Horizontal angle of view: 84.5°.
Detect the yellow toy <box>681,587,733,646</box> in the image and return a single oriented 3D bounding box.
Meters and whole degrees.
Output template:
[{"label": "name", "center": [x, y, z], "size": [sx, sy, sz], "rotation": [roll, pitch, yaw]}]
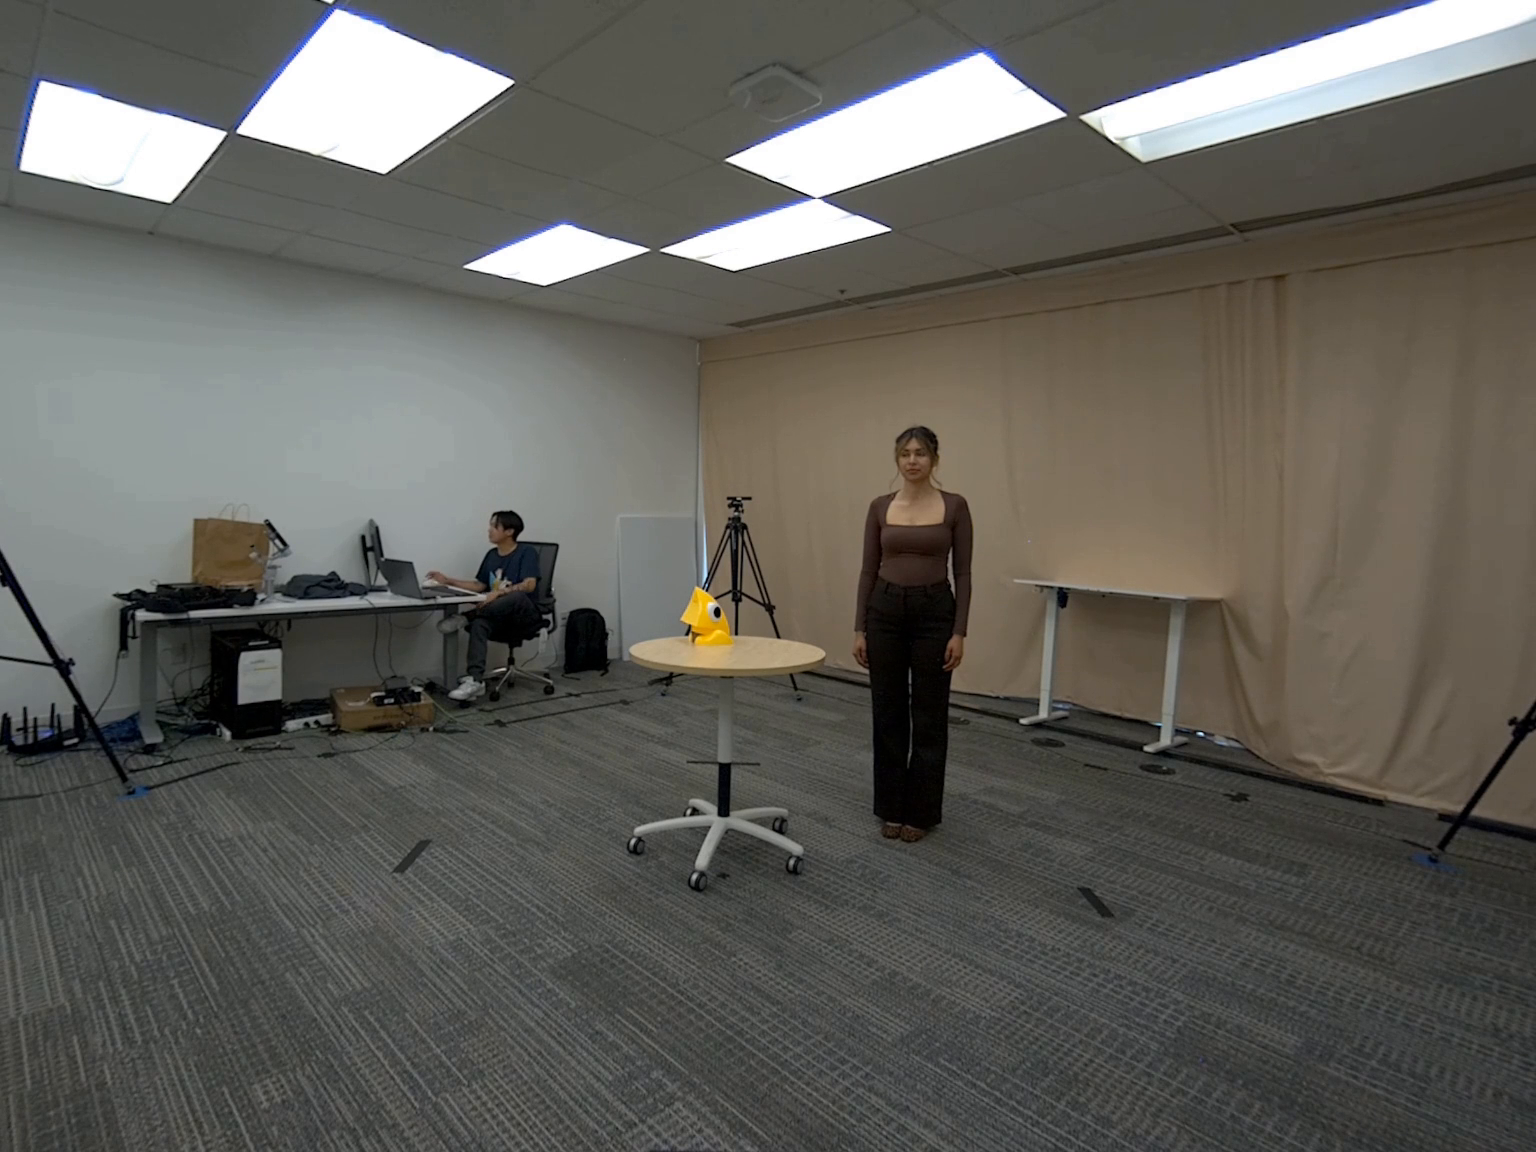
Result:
[{"label": "yellow toy", "center": [-0.257, 0.162, 3.504], "size": [0.190, 0.230, 0.209], "rotation": [0, 3, -23]}]
